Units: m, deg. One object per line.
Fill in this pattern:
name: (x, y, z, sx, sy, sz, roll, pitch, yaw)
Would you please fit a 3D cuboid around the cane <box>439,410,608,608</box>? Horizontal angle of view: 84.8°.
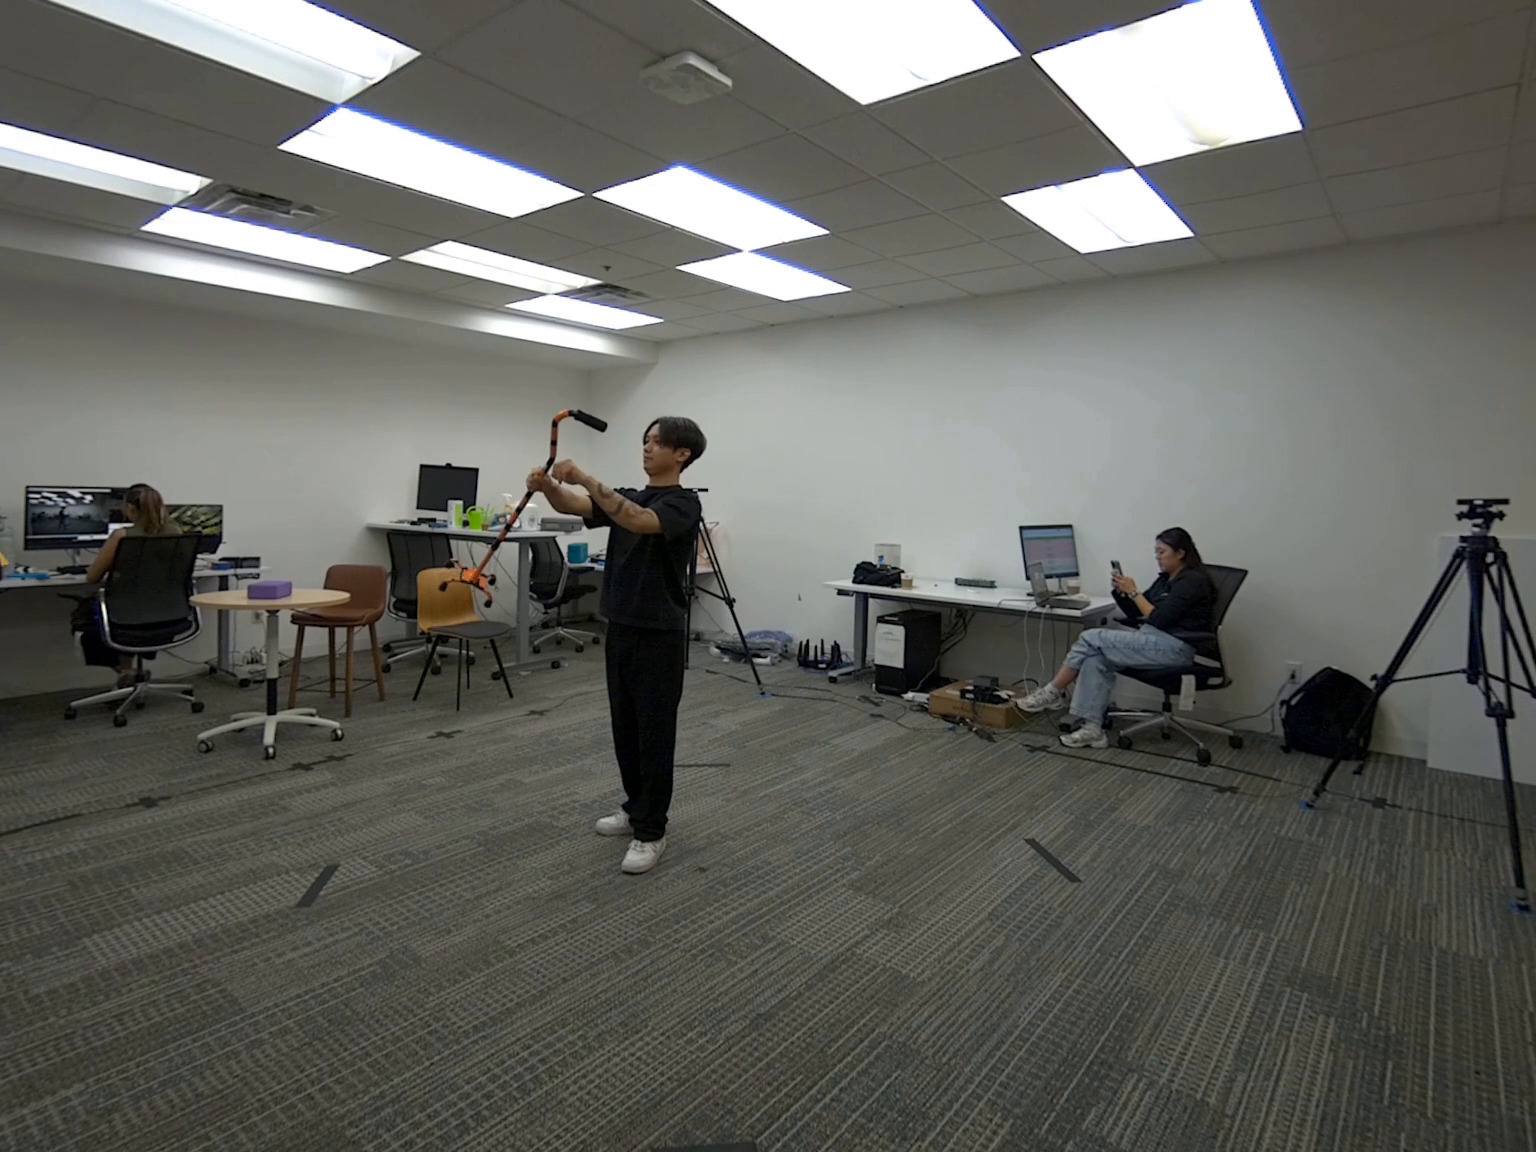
cane: (-0.884, -0.257, 2.984, 0.200, 0.907, 0.157, 25, 34, -28)
